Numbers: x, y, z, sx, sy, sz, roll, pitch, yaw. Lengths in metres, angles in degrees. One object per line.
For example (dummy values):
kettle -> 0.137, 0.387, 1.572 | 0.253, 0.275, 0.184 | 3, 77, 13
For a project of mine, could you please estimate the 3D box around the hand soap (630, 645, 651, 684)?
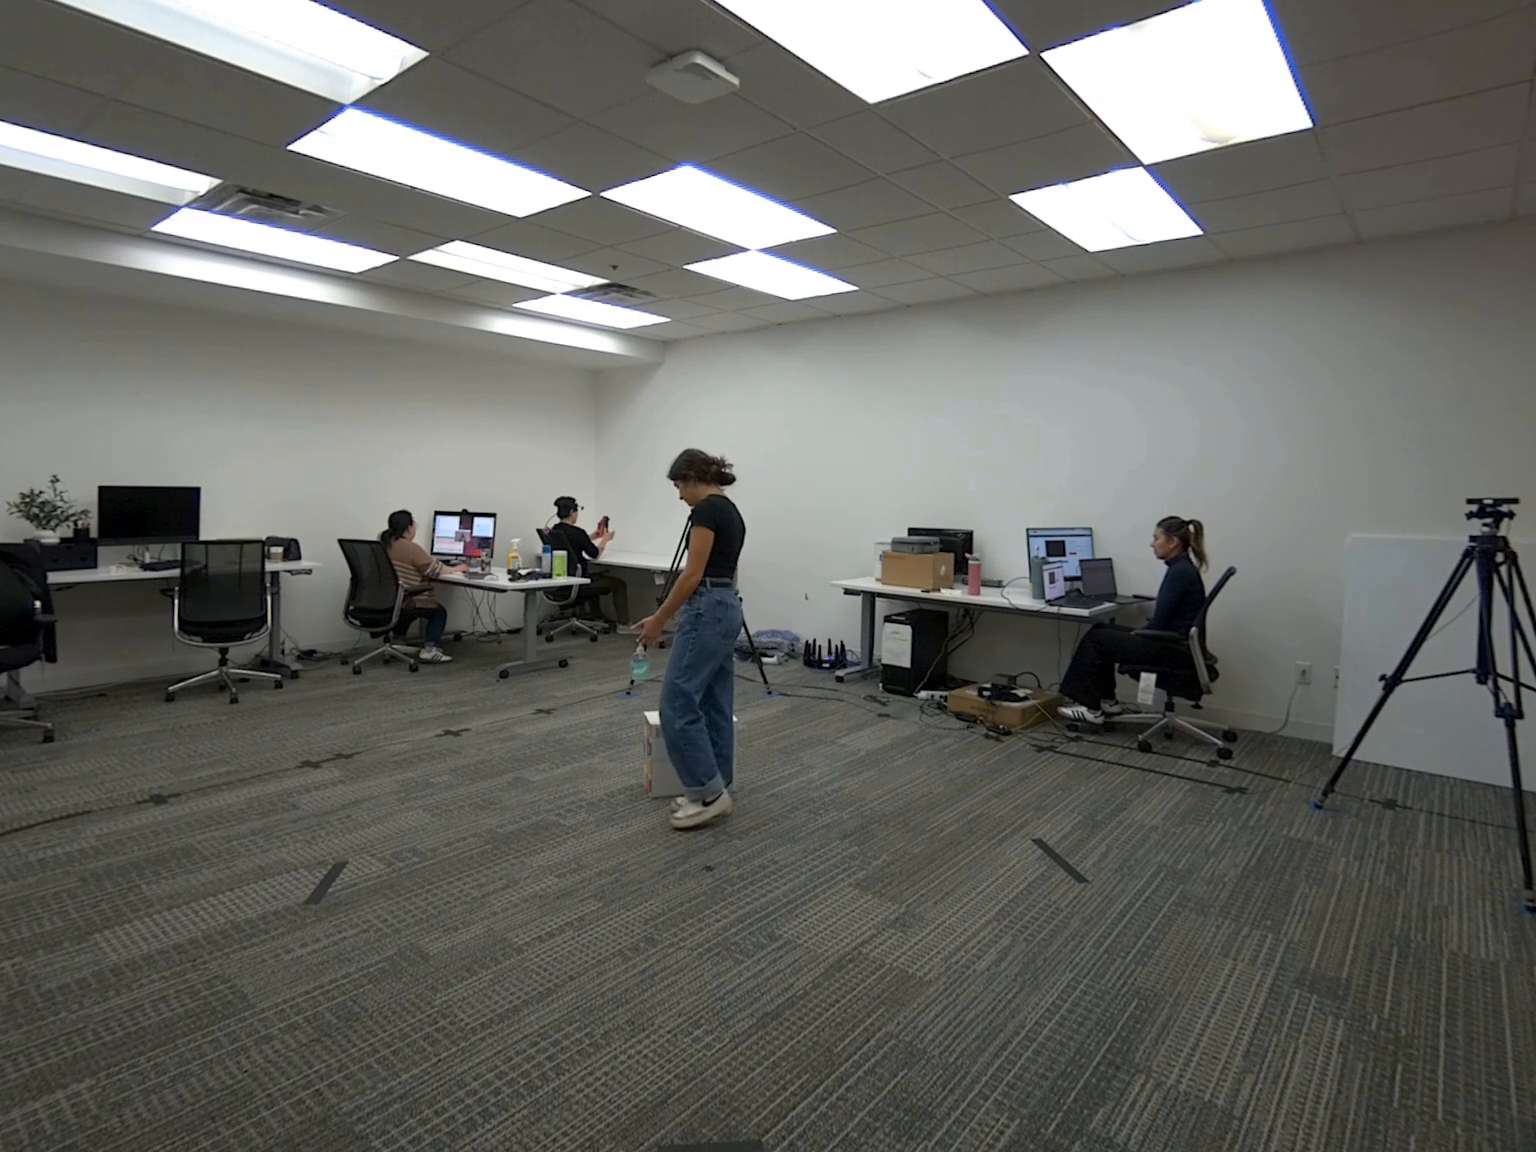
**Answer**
hand soap -> -0.545, 0.346, 3.556 | 0.085, 0.168, 0.043 | 1, -2, 6
